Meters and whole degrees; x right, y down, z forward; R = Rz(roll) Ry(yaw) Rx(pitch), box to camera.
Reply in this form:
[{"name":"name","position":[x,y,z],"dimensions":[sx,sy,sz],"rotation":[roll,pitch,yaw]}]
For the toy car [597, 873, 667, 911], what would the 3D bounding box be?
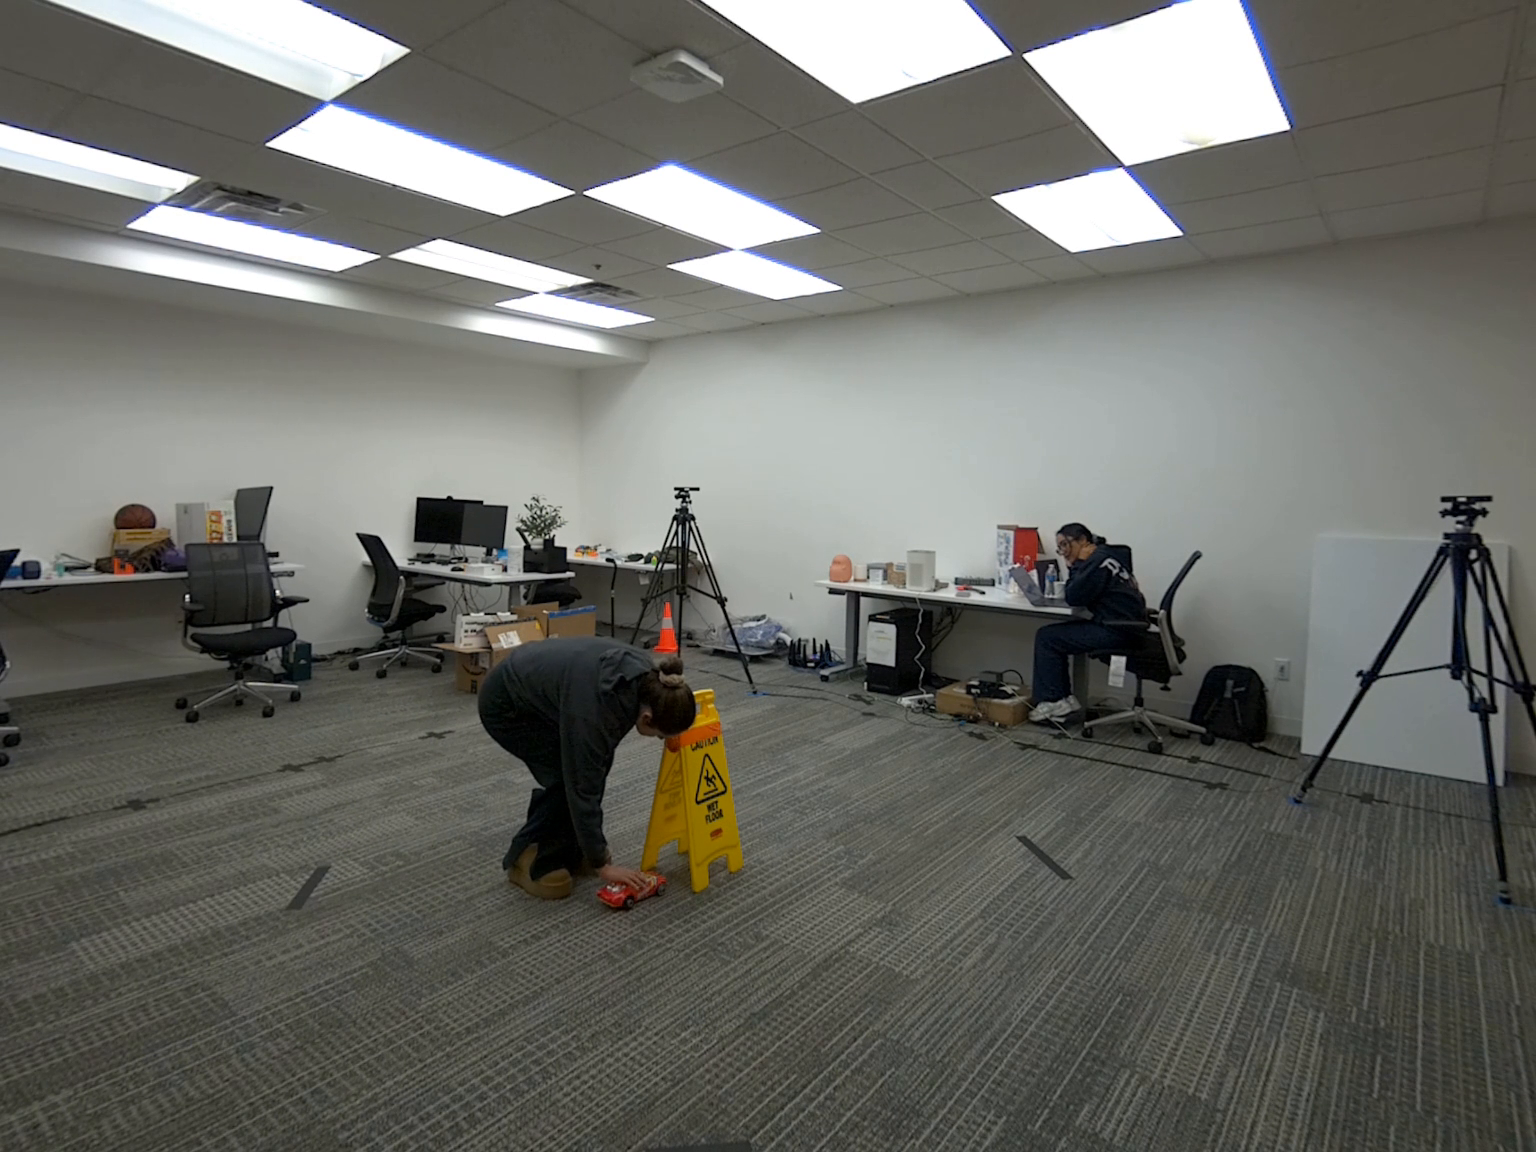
[{"name":"toy car","position":[-0.470,1.057,2.855],"dimensions":[0.245,0.083,0.134],"rotation":[13,-7,-43]}]
